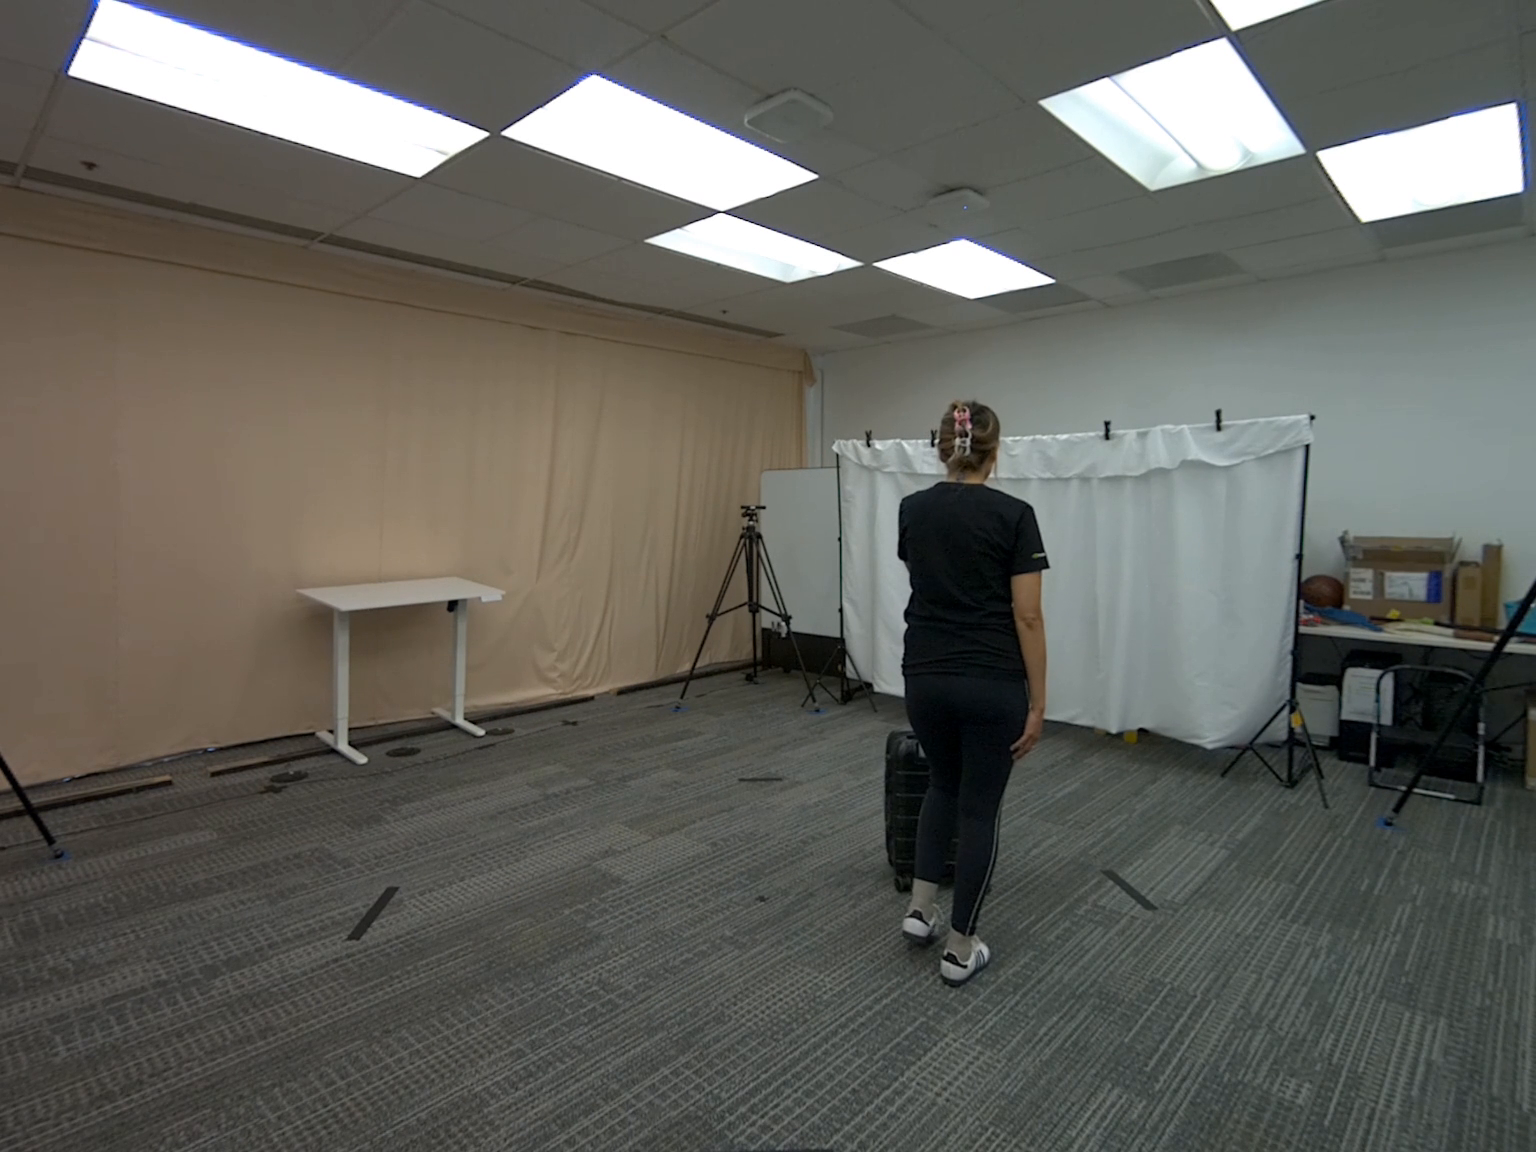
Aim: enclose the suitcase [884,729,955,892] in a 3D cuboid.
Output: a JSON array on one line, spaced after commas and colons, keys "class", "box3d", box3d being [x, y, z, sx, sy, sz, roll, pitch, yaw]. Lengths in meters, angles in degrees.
[{"class": "suitcase", "box3d": [0.628, 0.652, 3.148, 0.386, 0.980, 0.255, 0, -2, 4]}]
